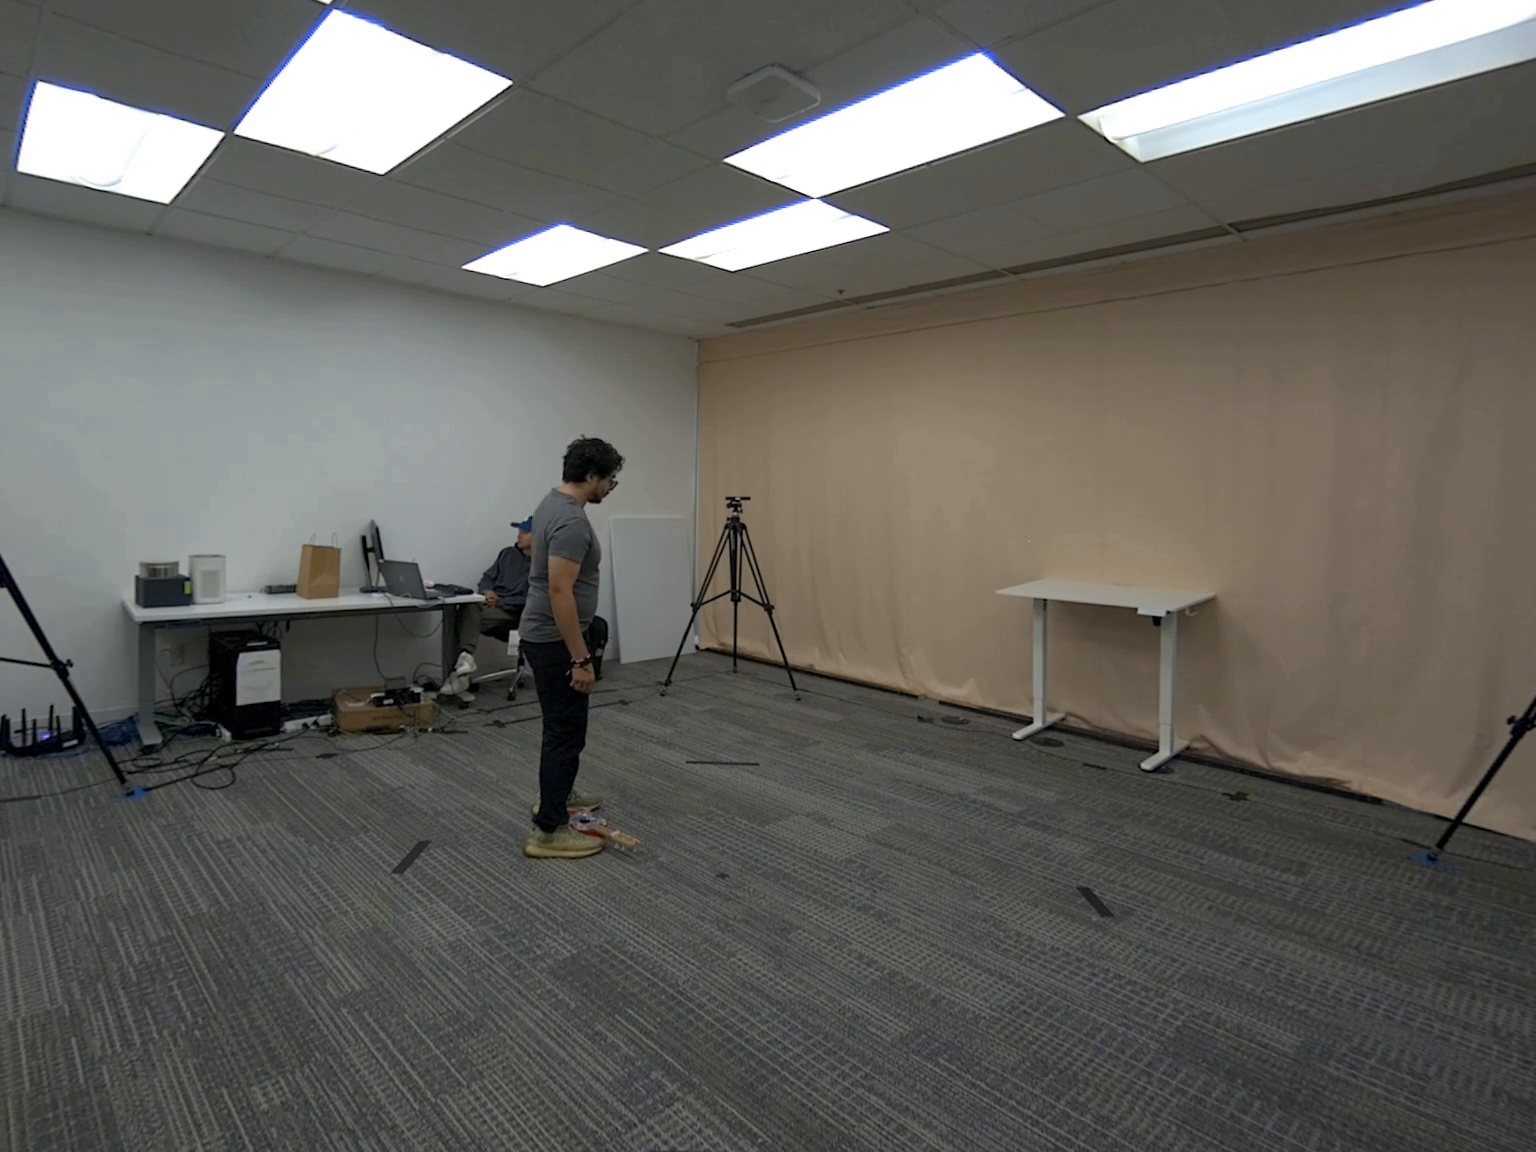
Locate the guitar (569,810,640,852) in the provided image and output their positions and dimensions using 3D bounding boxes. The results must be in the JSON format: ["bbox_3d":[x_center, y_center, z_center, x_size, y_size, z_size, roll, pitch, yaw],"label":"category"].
[{"bbox_3d":[-0.723,1.039,3.377,0.189,0.070,0.510,-3,6,-39],"label":"guitar"}]
